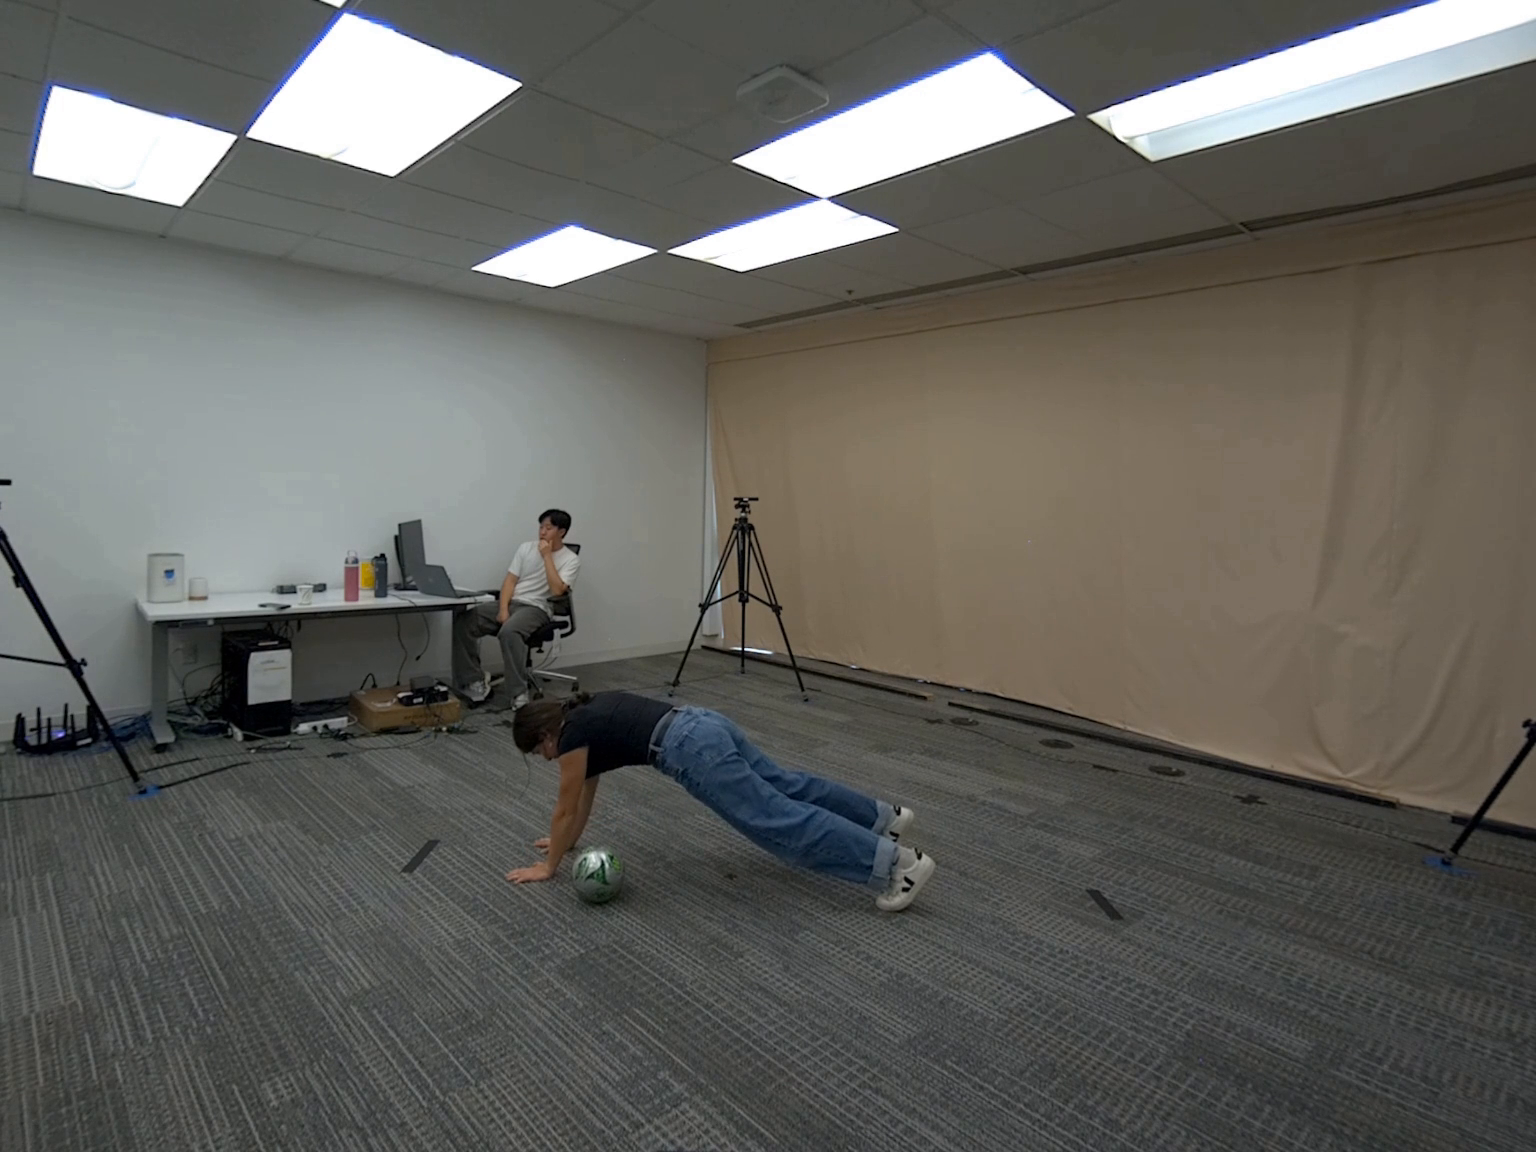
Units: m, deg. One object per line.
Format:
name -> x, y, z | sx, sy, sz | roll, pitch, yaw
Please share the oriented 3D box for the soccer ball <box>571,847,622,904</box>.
soccer ball -> -0.588, 1.018, 2.895 | 0.187, 0.187, 0.188 | 1, 4, -1
